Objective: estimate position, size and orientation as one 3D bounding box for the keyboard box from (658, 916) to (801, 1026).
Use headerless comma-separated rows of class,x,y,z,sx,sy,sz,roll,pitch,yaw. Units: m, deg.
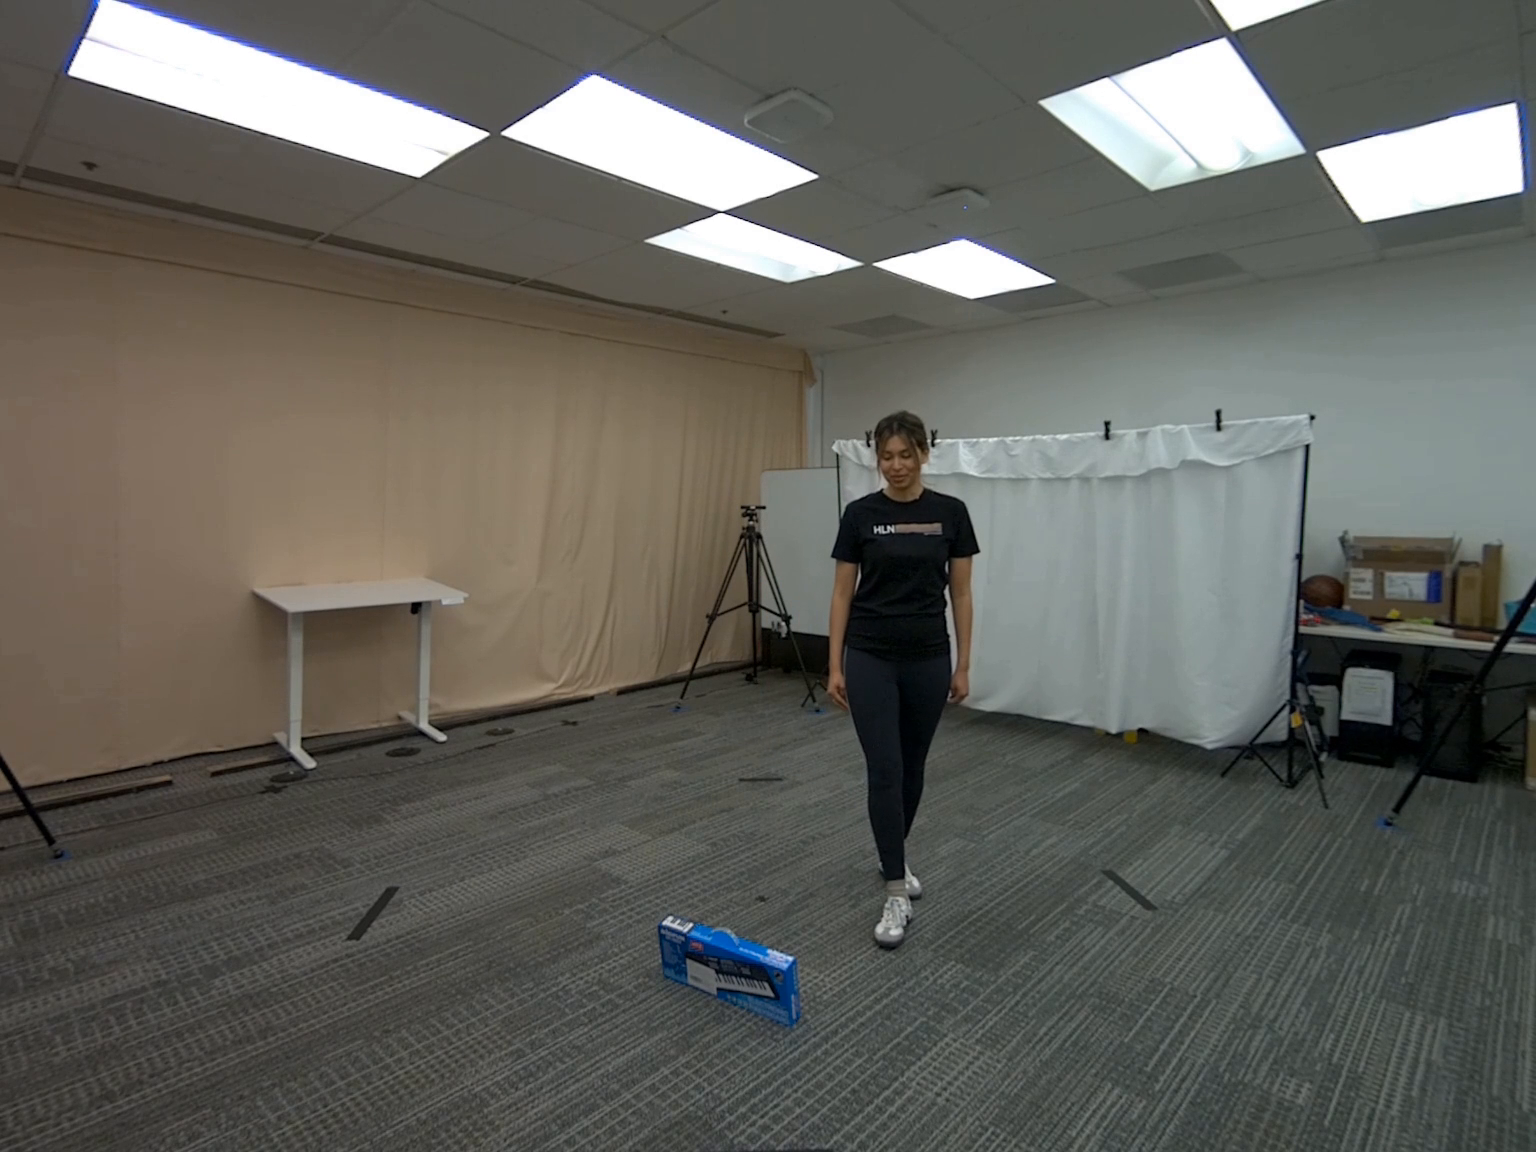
keyboard box,-0.115,1.108,2.375,0.450,0.175,0.058,2,12,33
